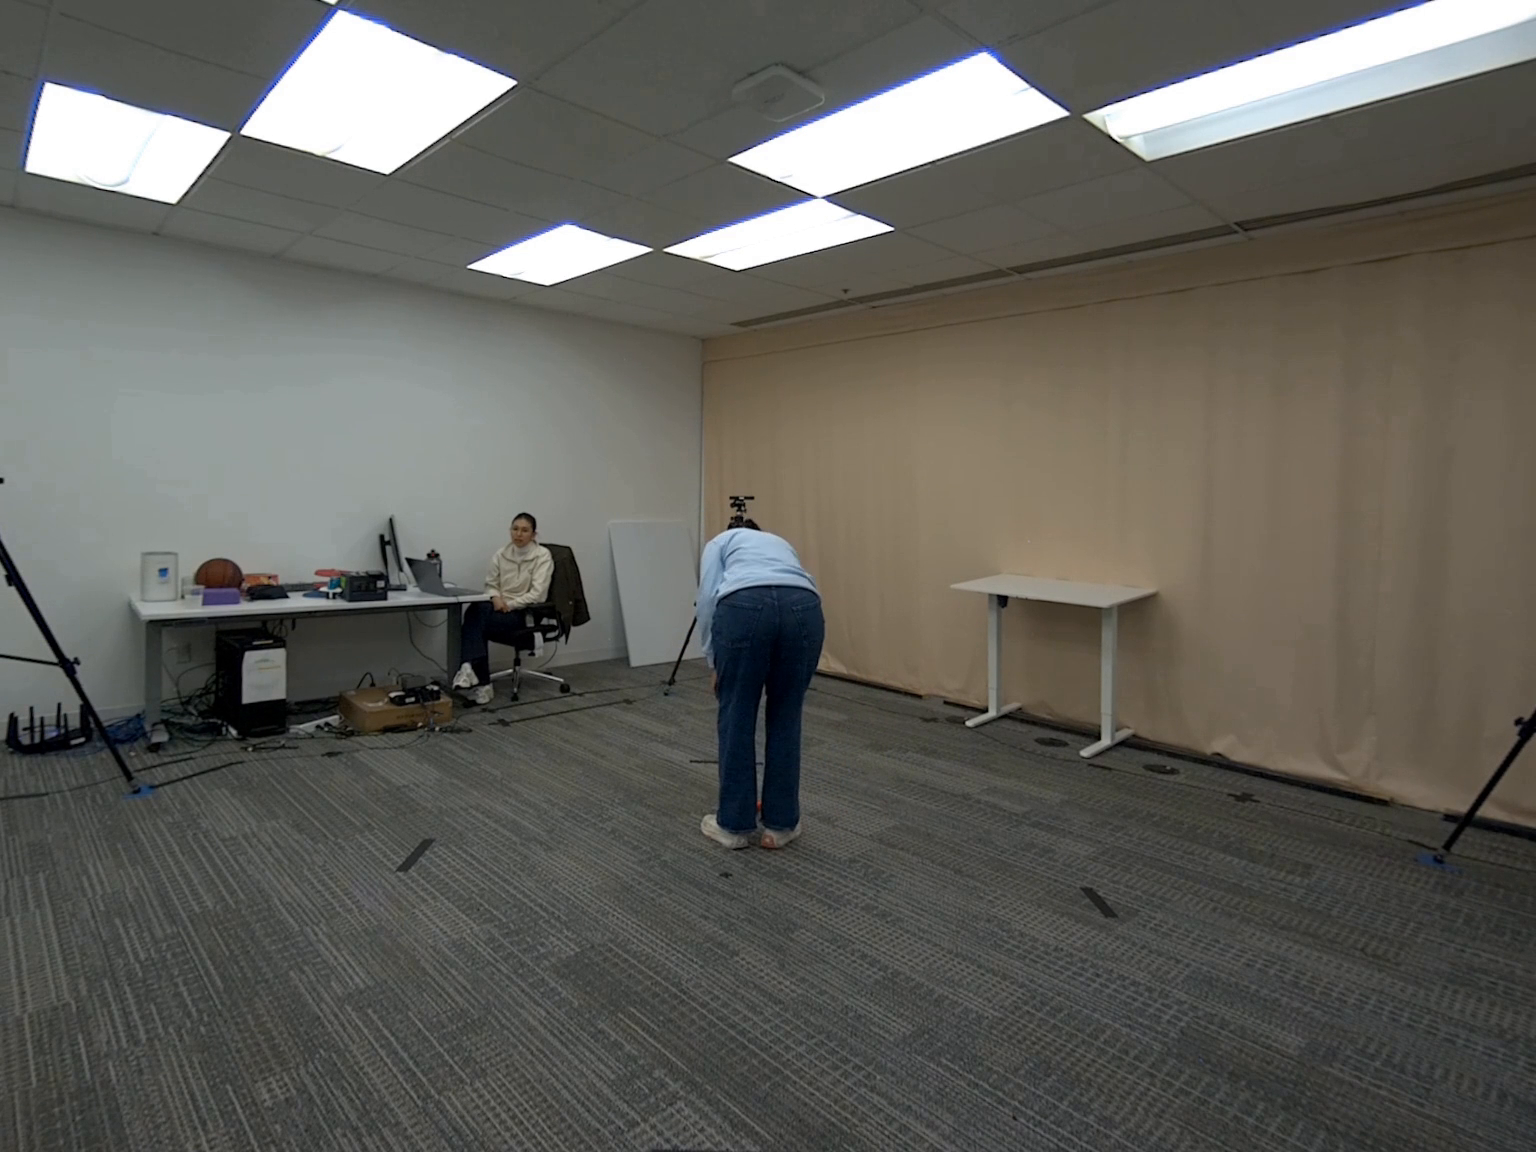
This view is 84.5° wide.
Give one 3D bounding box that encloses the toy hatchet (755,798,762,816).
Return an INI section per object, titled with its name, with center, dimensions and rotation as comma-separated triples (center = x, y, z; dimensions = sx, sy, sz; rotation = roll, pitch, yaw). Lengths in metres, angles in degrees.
[toy hatchet]
center = -0.109, 1.043, 3.696
dimensions = 0.134, 0.029, 0.265
rotation = 5, 8, 31
